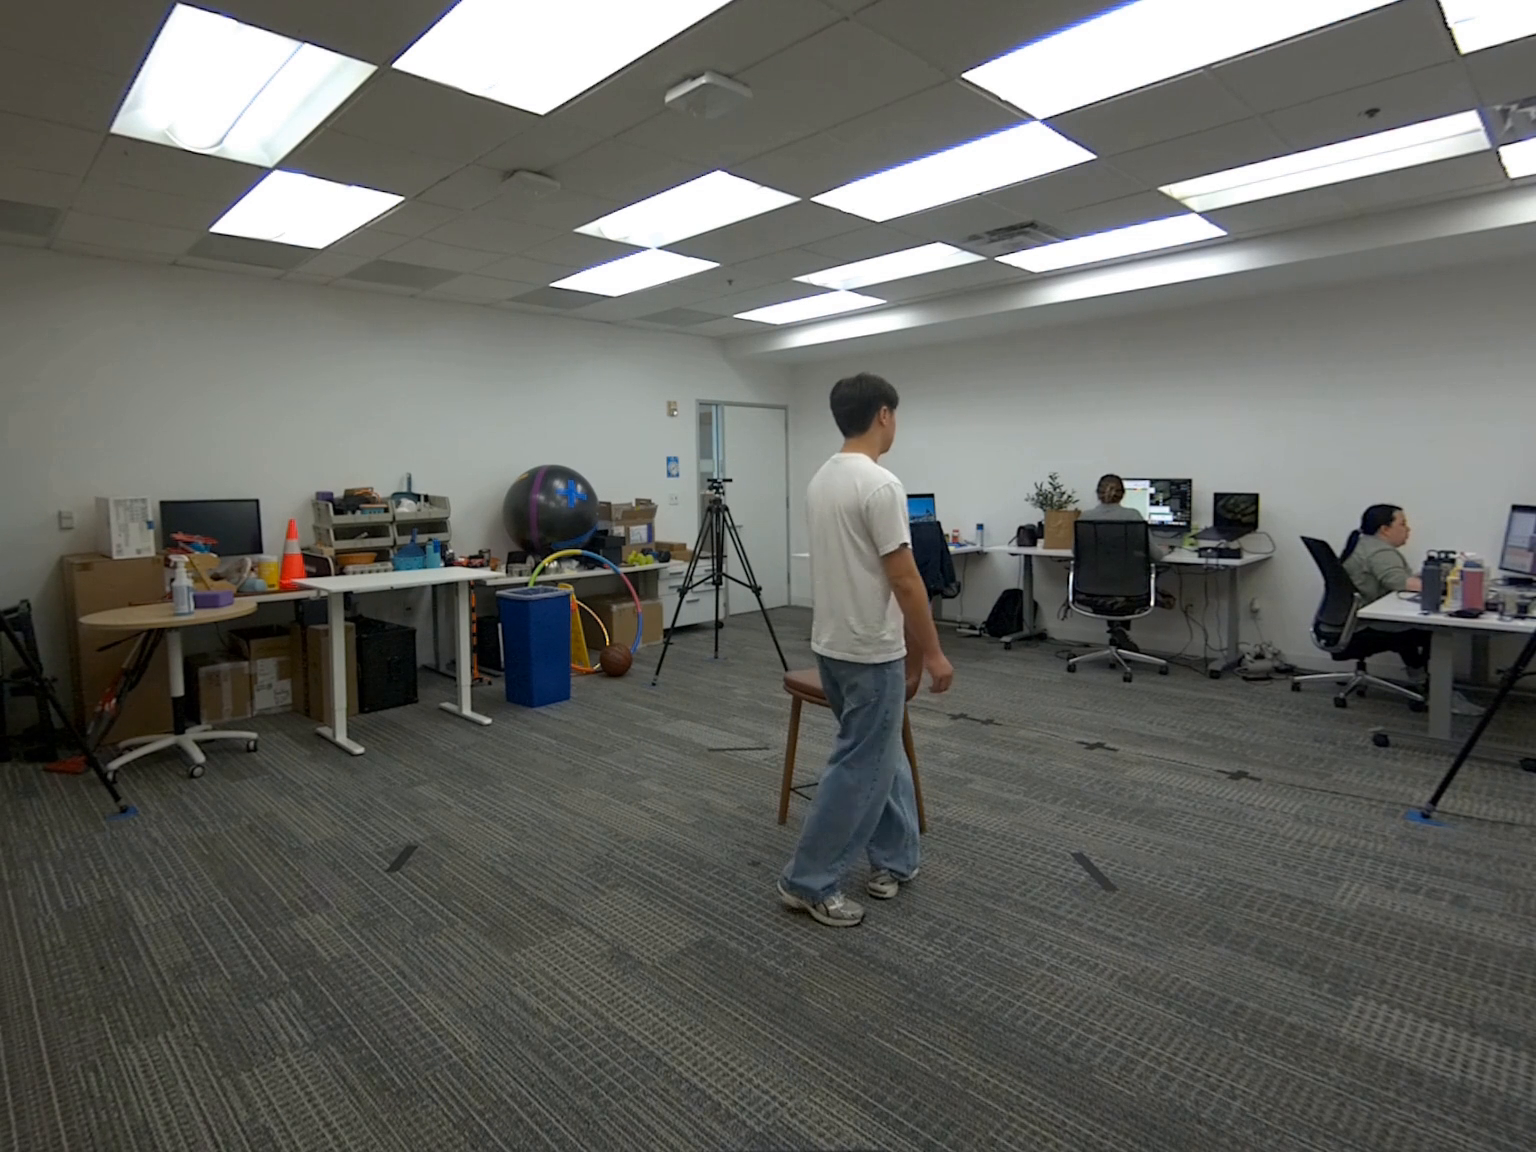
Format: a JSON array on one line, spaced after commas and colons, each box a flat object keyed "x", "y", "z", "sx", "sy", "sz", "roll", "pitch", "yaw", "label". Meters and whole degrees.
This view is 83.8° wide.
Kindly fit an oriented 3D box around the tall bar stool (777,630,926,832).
[{"x": 0.338, "y": 0.570, "z": 3.389, "sx": 0.456, "sy": 0.887, "sz": 0.469, "roll": -1, "pitch": 4, "yaw": -32, "label": "tall bar stool"}]
